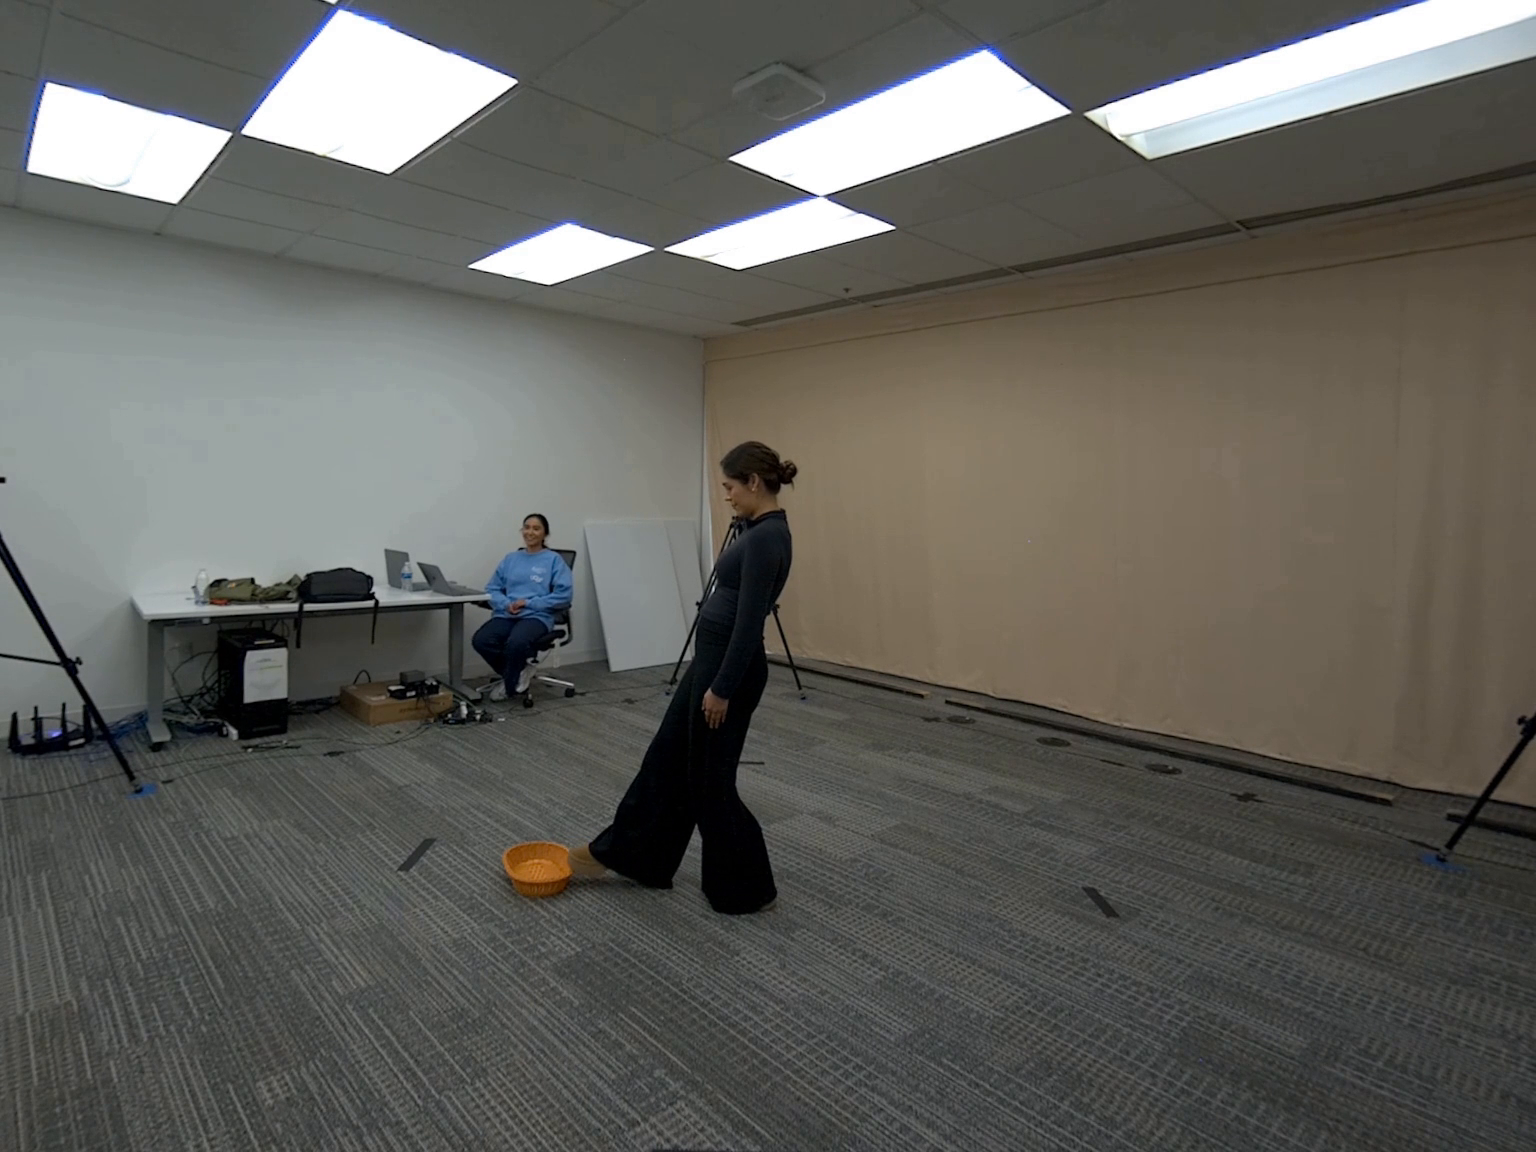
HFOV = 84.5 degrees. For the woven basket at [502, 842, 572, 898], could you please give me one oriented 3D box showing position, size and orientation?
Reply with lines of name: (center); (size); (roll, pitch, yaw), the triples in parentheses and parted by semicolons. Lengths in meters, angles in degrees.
woven basket: (-0.825, 1.052, 3.030); (0.248, 0.073, 0.357); (0, 5, -22)
